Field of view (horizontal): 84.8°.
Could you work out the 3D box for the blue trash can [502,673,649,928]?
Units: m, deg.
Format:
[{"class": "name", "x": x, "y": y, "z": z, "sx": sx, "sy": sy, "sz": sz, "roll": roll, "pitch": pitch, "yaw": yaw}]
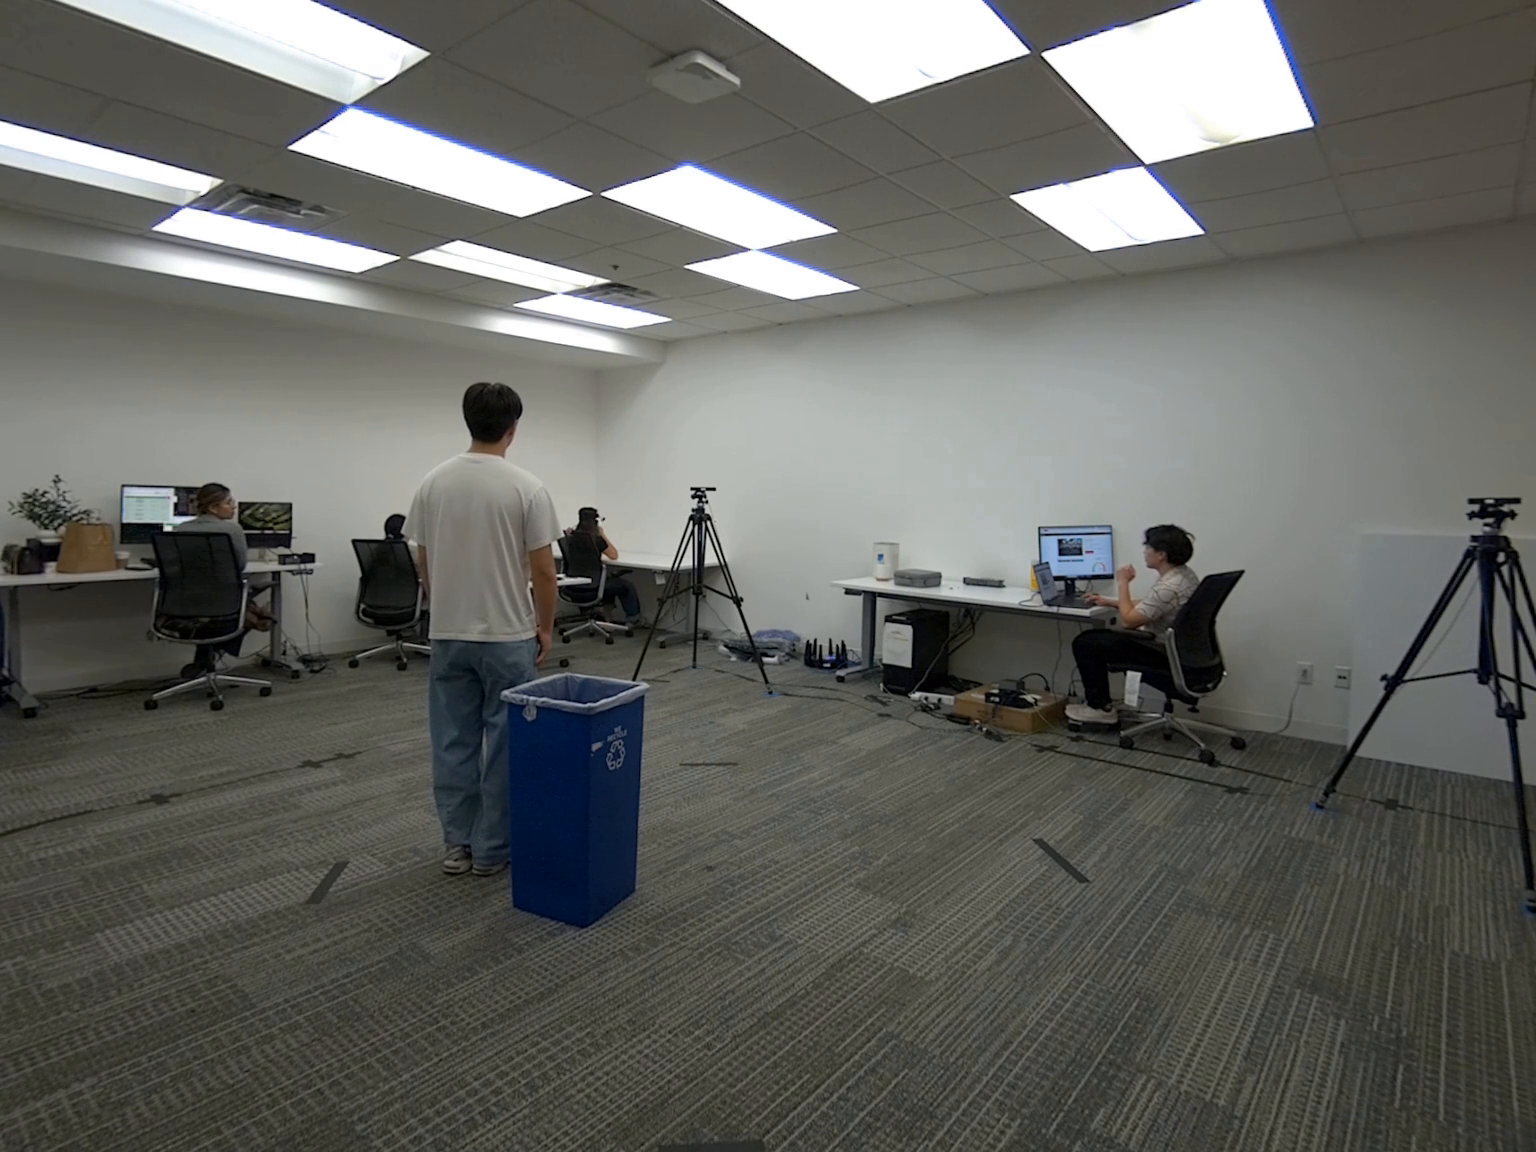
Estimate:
[{"class": "blue trash can", "x": -0.654, "y": 0.724, "z": 2.848, "sx": 0.388, "sy": 0.711, "sz": 0.366, "roll": 2, "pitch": 4, "yaw": 25}]
